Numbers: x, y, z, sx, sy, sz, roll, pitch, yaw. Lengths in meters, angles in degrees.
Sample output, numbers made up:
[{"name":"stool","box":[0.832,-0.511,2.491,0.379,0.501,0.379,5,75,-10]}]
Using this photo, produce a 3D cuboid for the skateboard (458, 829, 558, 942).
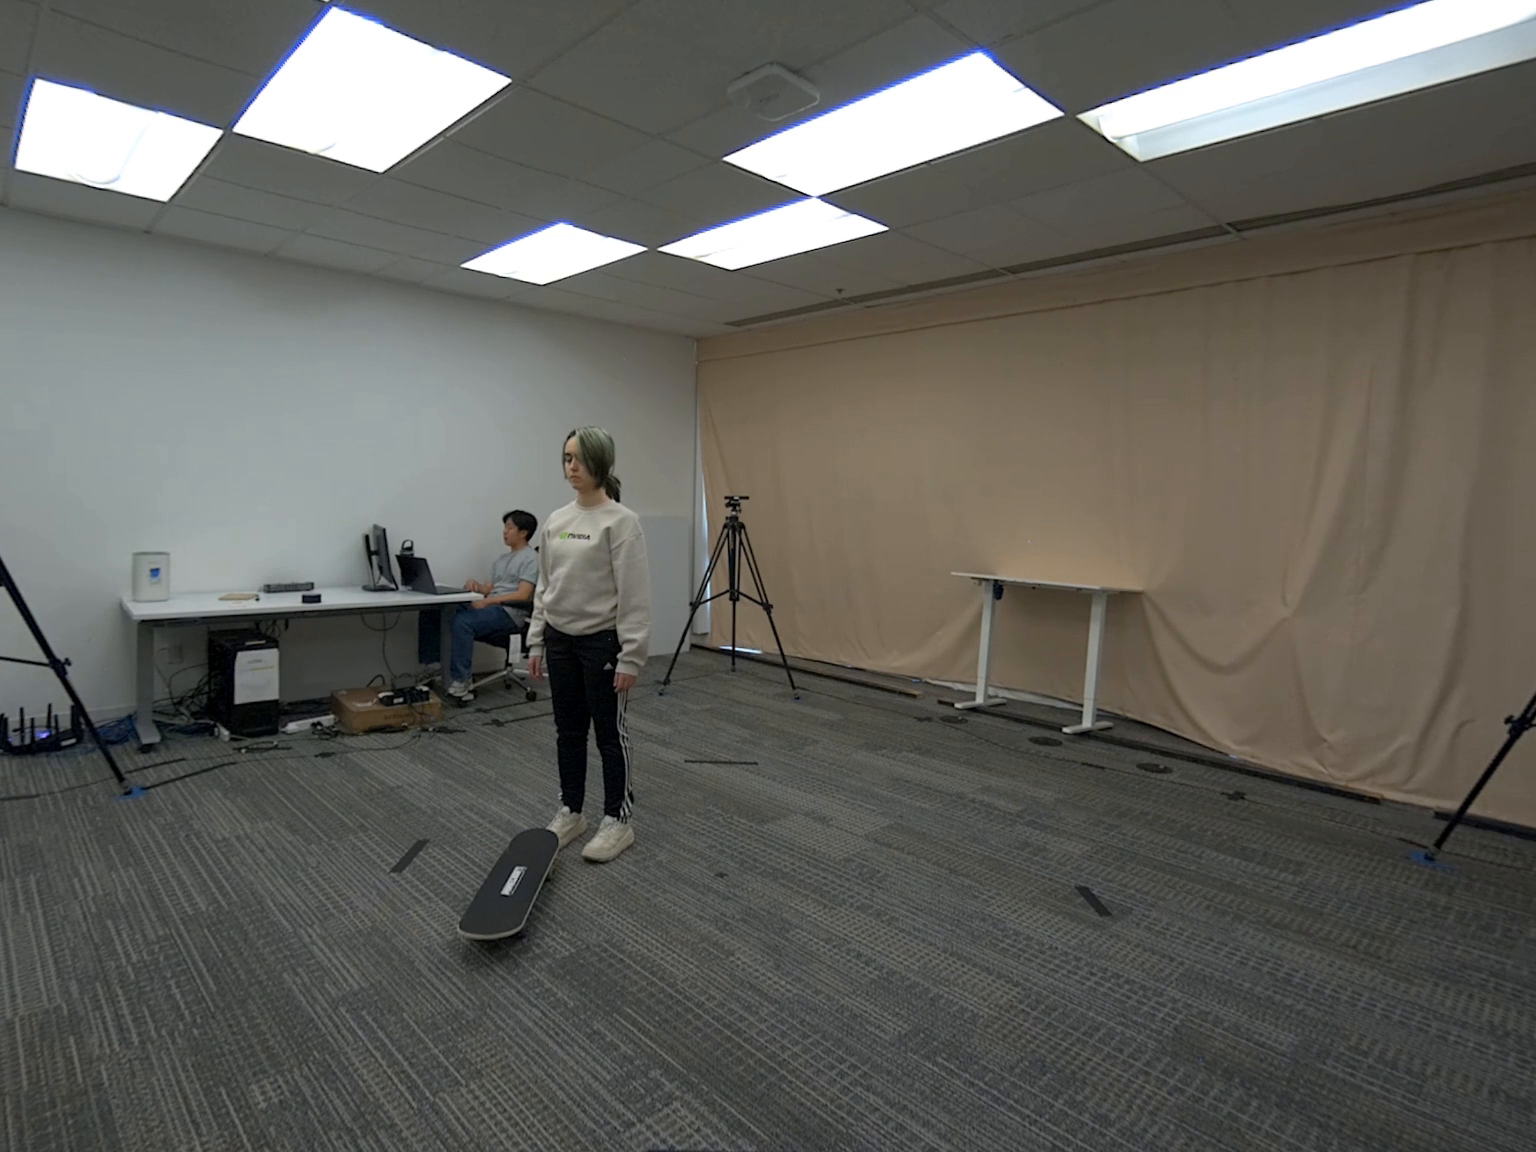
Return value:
[{"name":"skateboard","box":[-0.858,1.054,2.829,0.193,0.110,0.788,2,5,-3]}]
